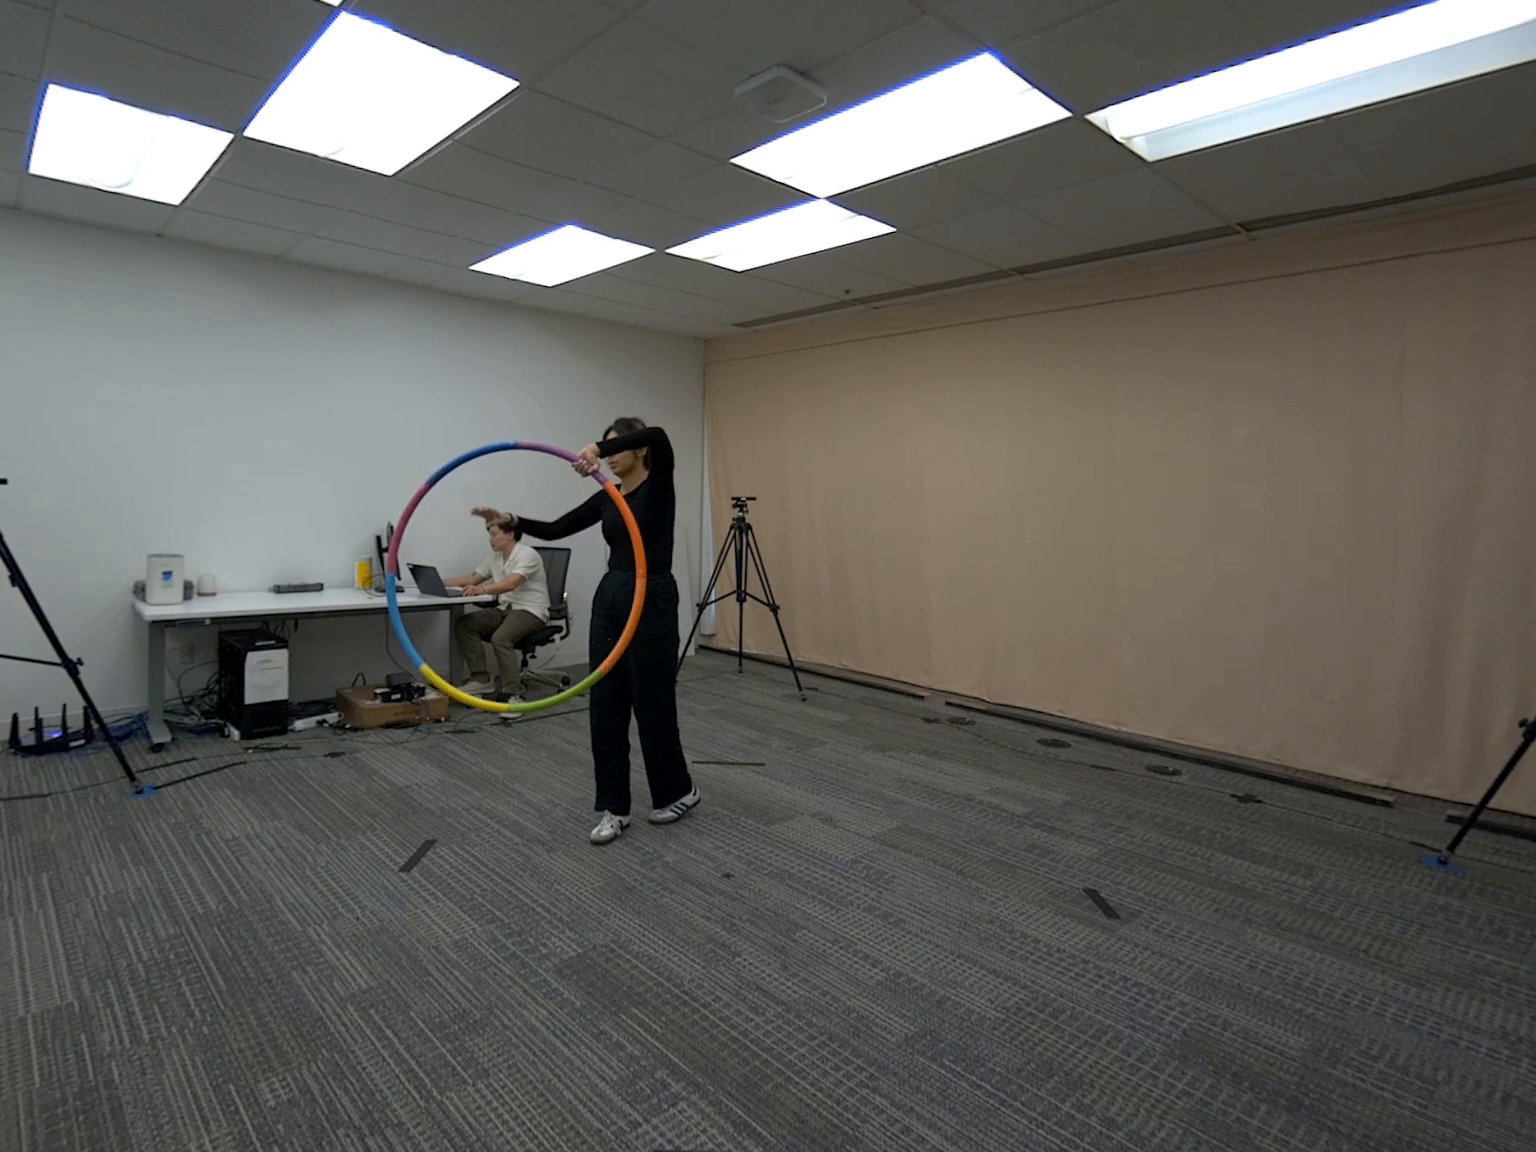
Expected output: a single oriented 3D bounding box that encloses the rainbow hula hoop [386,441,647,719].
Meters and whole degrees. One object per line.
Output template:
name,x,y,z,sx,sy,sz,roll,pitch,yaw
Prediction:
rainbow hula hoop,-0.929,0.002,3.070,0.990,0.987,0.051,2,-2,6
